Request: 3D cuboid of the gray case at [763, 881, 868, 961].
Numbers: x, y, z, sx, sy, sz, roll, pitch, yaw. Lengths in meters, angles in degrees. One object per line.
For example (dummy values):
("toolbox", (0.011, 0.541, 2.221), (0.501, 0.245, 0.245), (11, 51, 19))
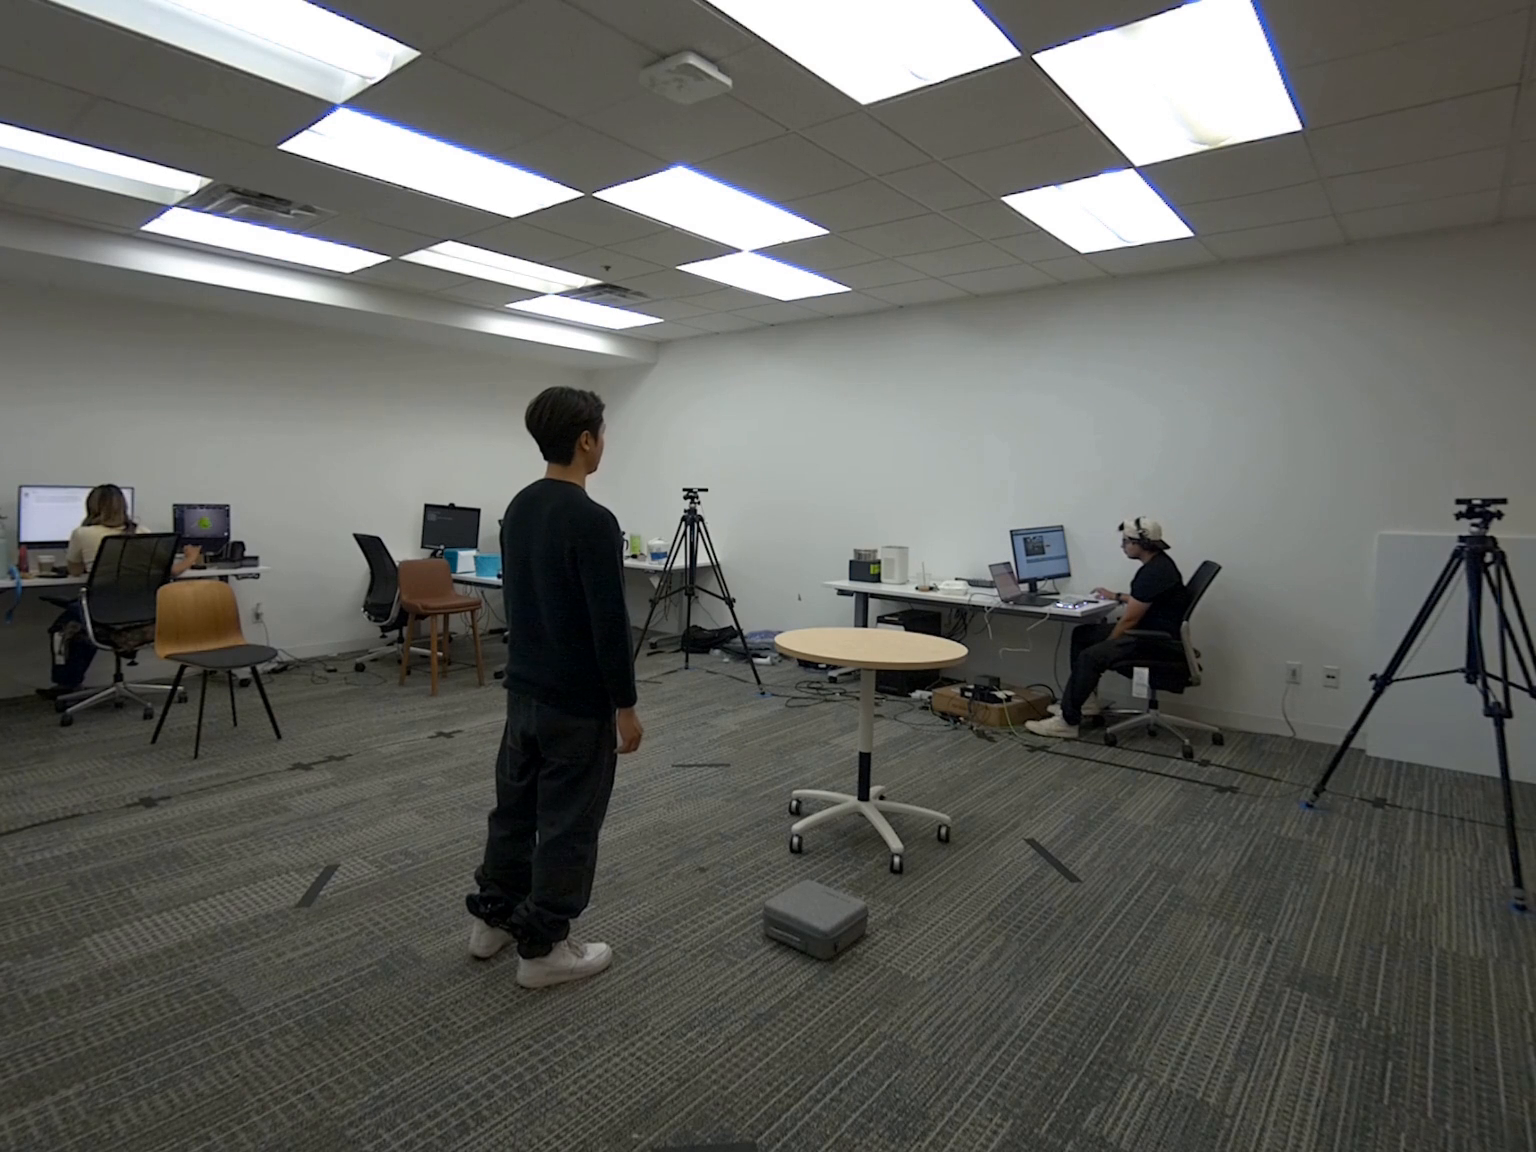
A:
("gray case", (0.145, 1.065, 2.658), (0.266, 0.104, 0.253), (7, 8, 39))
